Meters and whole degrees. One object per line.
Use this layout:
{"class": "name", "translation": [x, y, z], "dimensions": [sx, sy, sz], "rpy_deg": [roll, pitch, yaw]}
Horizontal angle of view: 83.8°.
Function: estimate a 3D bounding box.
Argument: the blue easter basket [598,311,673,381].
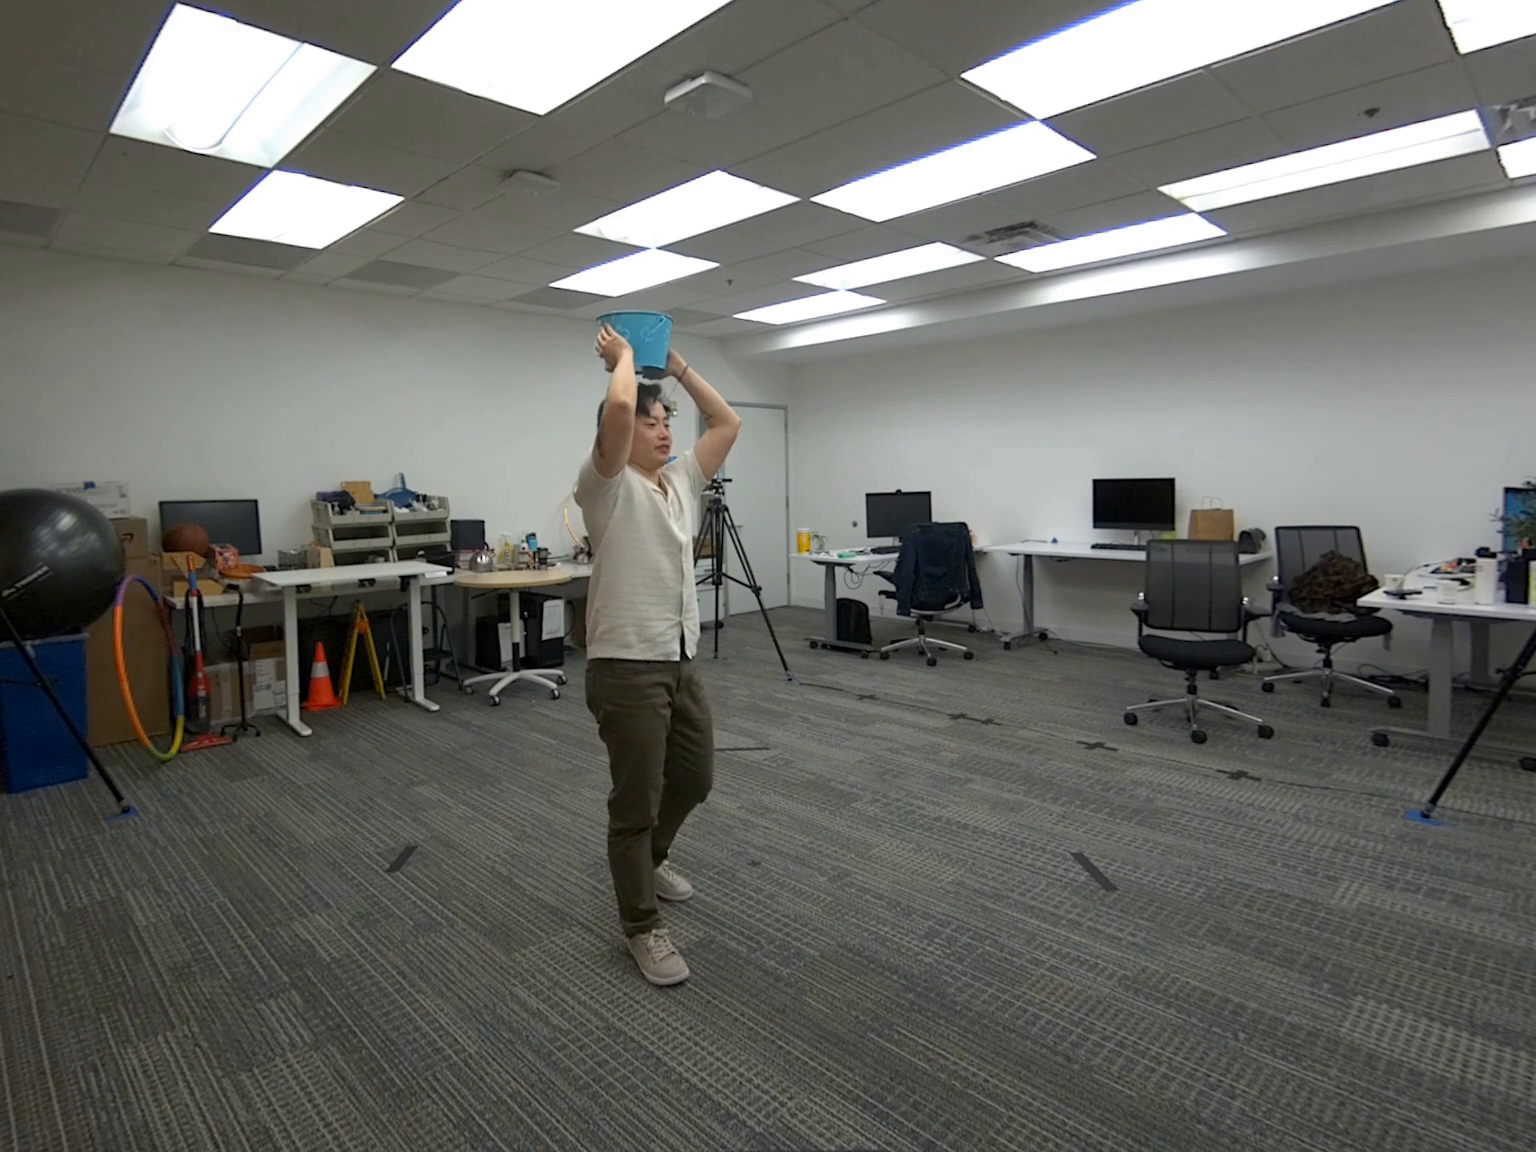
{"class": "blue easter basket", "translation": [-0.406, -0.696, 2.564], "dimensions": [0.243, 0.156, 0.244], "rpy_deg": [-3, 2, -2]}
